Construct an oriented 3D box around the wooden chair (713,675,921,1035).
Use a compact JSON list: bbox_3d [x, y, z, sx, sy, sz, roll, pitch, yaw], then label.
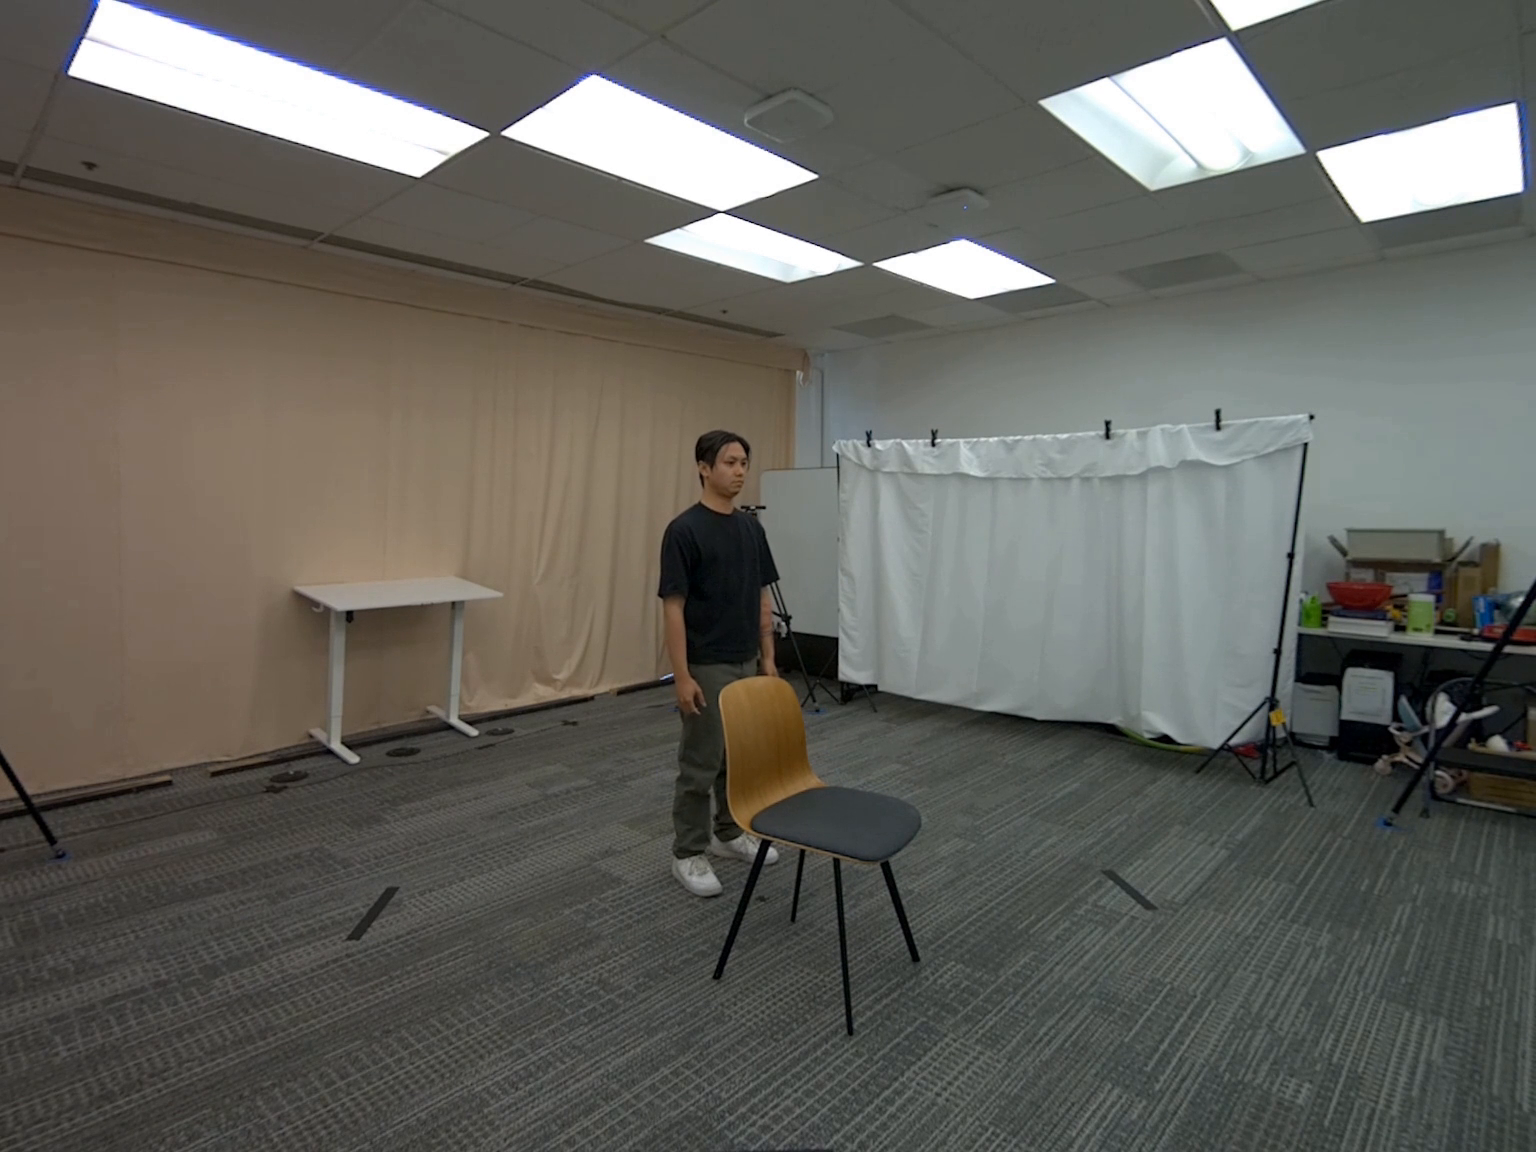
[{"bbox_3d":[0.165,0.758,2.488,0.538,0.877,0.464,-3,0,34],"label":"wooden chair"}]
